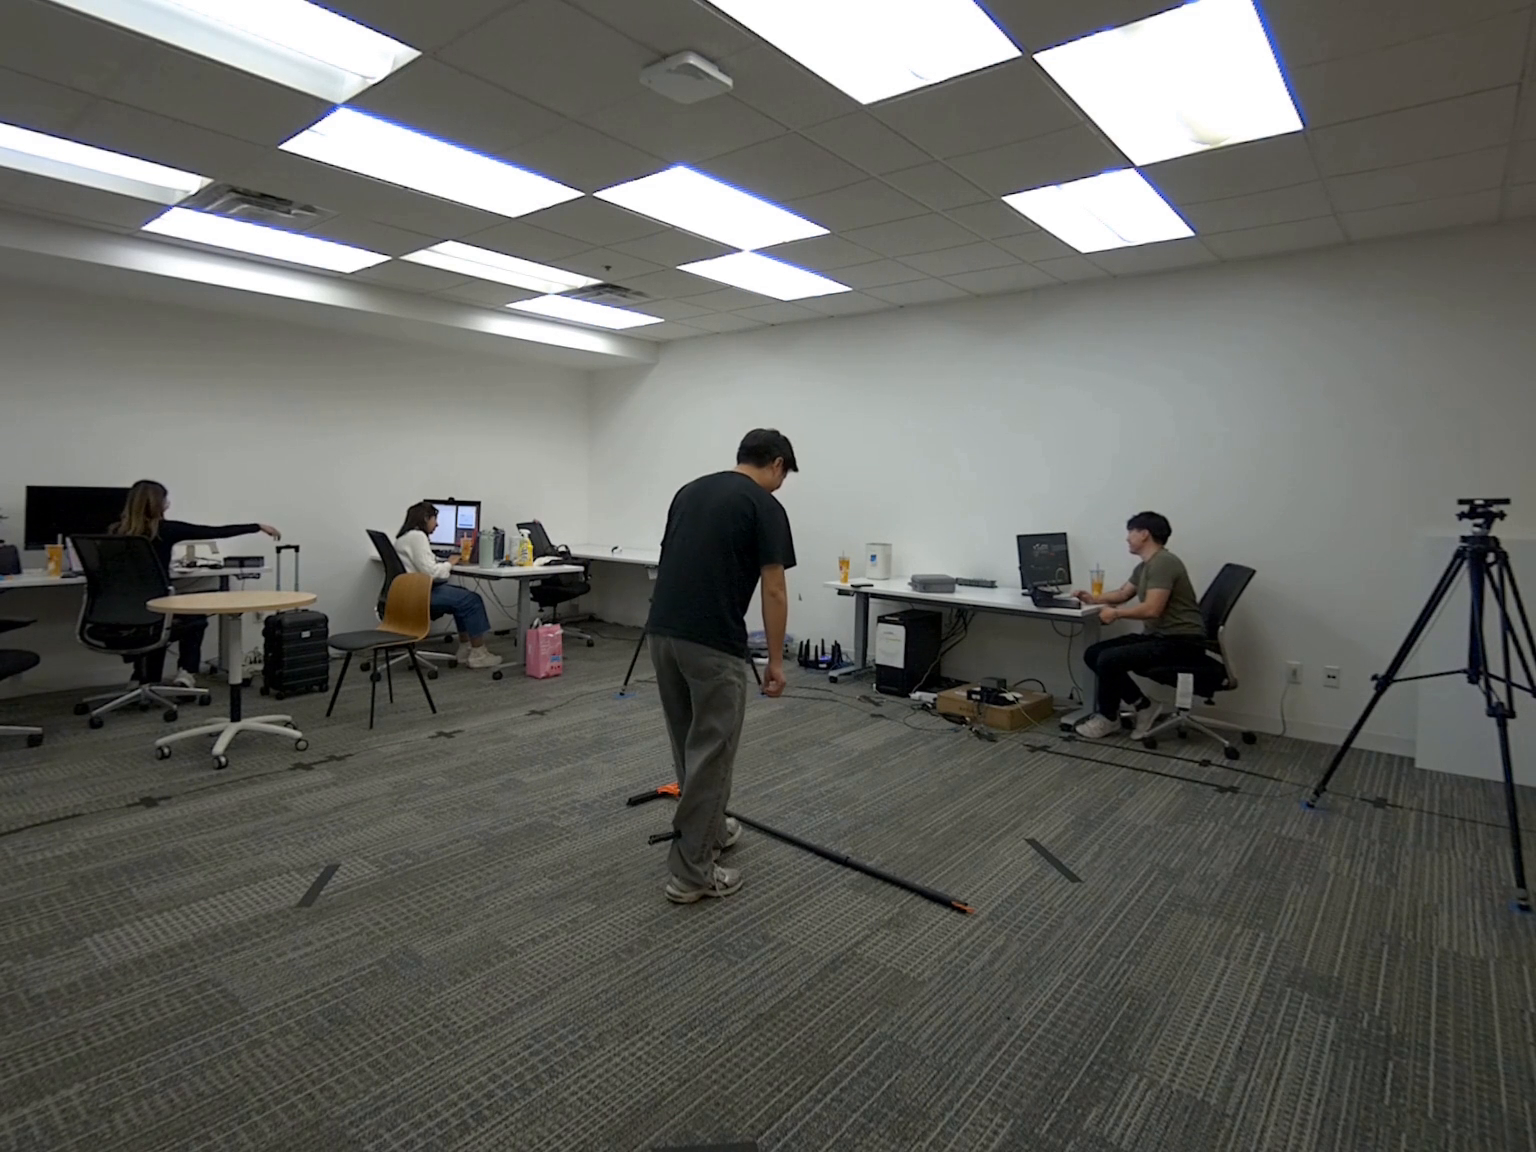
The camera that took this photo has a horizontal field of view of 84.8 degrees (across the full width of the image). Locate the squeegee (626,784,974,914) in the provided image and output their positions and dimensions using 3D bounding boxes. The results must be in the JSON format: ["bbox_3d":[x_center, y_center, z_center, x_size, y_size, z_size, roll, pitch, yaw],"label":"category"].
[{"bbox_3d":[0.081,1.019,3.341,1.592,0.053,0.424,8,8,43],"label":"squeegee"}]
